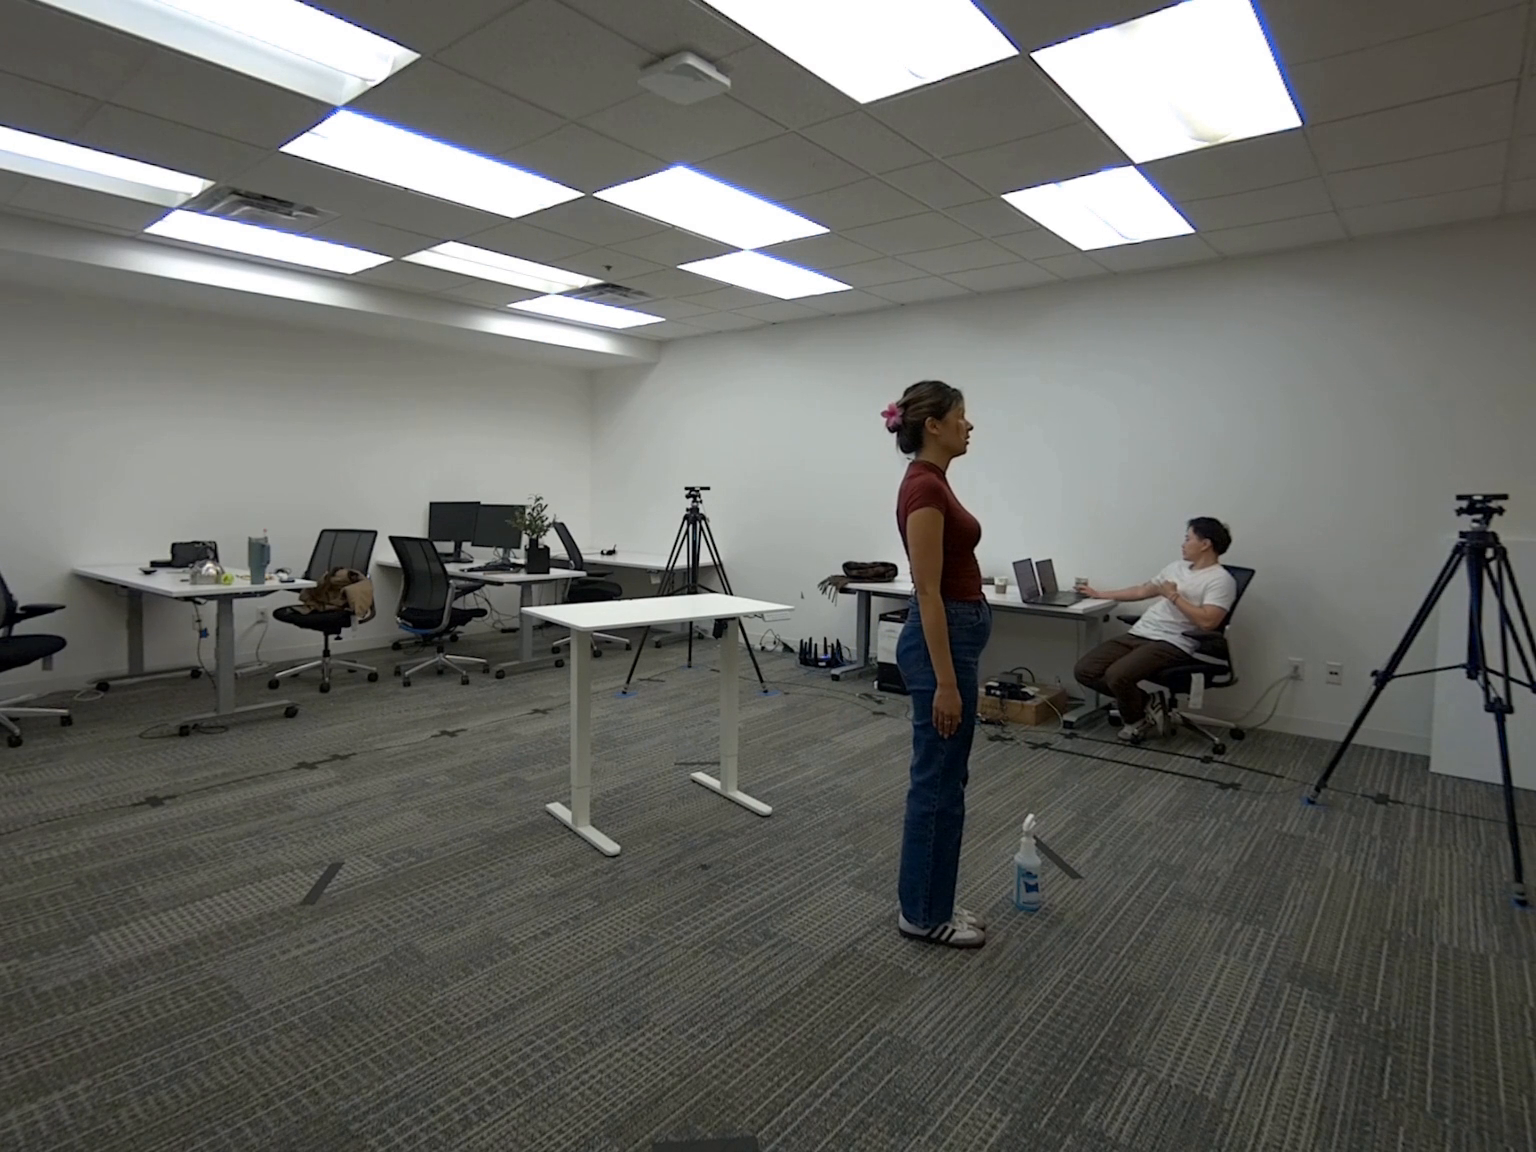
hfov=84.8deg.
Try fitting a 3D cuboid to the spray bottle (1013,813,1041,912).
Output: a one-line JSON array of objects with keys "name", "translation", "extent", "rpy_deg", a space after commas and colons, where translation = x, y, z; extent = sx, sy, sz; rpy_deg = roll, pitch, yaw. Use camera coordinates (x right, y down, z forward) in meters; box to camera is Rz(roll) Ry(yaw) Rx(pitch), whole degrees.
[{"name": "spray bottle", "translation": [0.868, 0.961, 2.880], "extent": [0.087, 0.297, 0.089], "rpy_deg": [-1, 3, -32]}]
